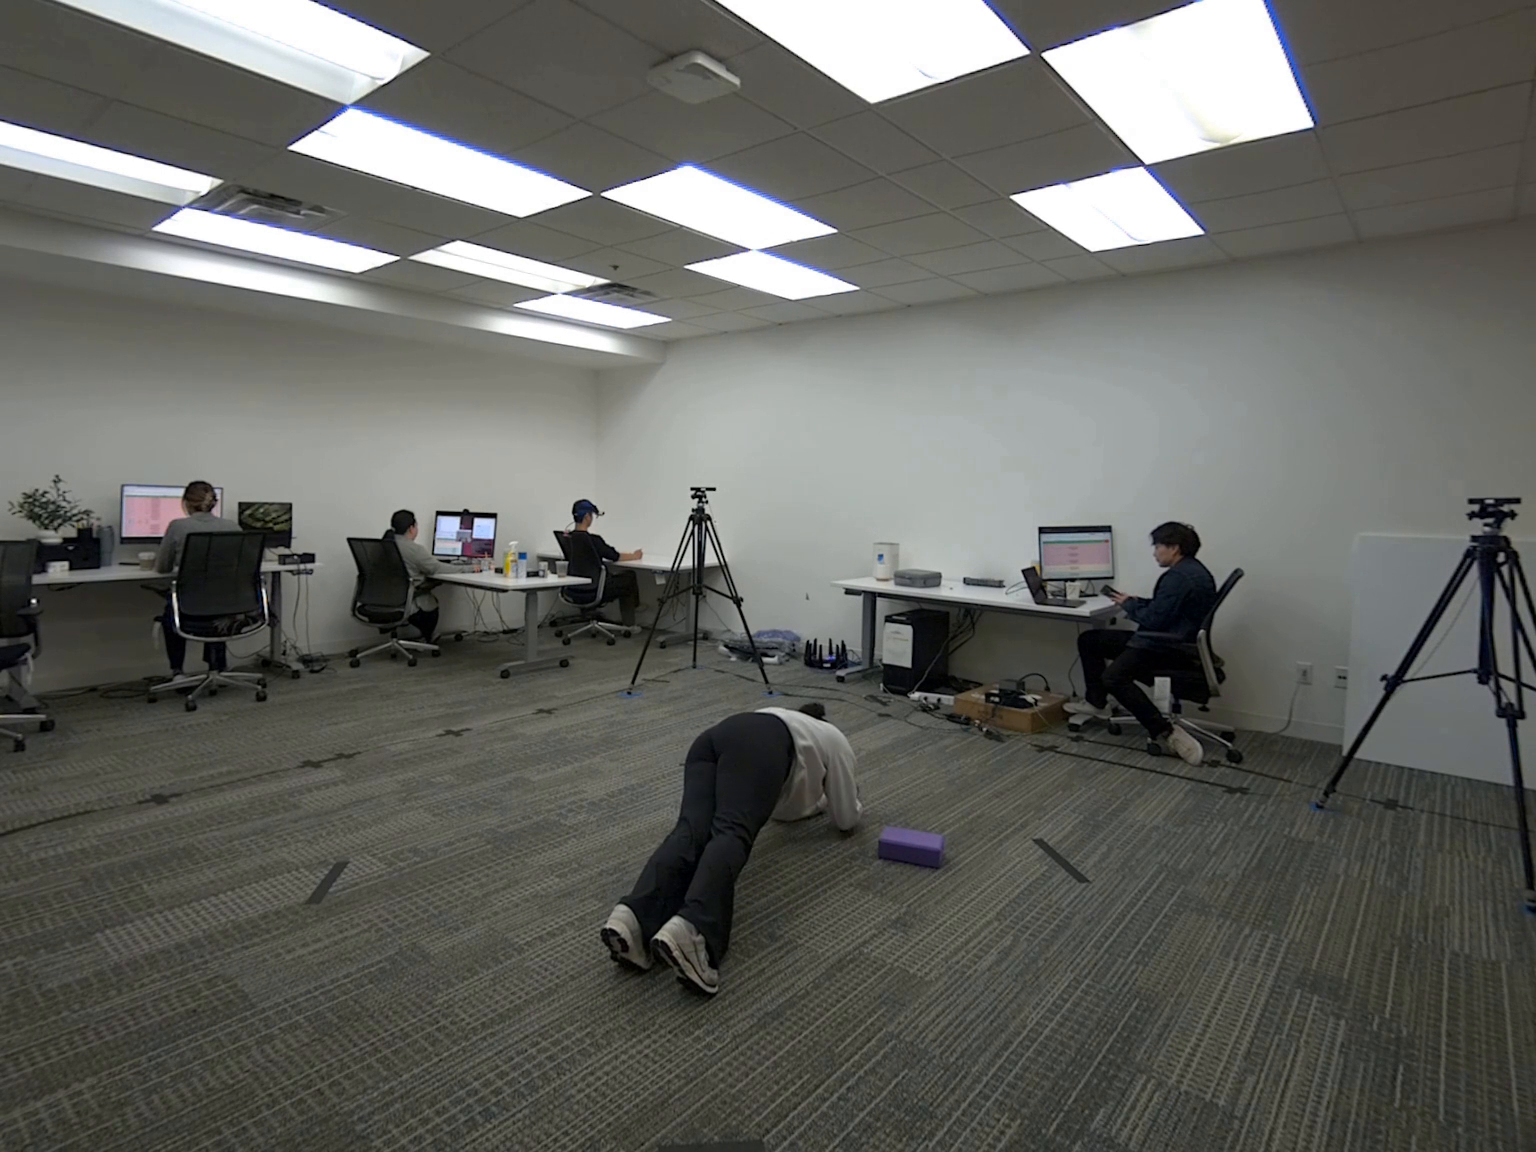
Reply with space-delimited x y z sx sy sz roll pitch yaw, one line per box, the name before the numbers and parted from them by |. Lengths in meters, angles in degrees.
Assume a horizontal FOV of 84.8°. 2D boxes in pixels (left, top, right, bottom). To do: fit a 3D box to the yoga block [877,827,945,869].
yoga block | 0.544 1.035 3.251 0.234 0.076 0.146 3 5 20
